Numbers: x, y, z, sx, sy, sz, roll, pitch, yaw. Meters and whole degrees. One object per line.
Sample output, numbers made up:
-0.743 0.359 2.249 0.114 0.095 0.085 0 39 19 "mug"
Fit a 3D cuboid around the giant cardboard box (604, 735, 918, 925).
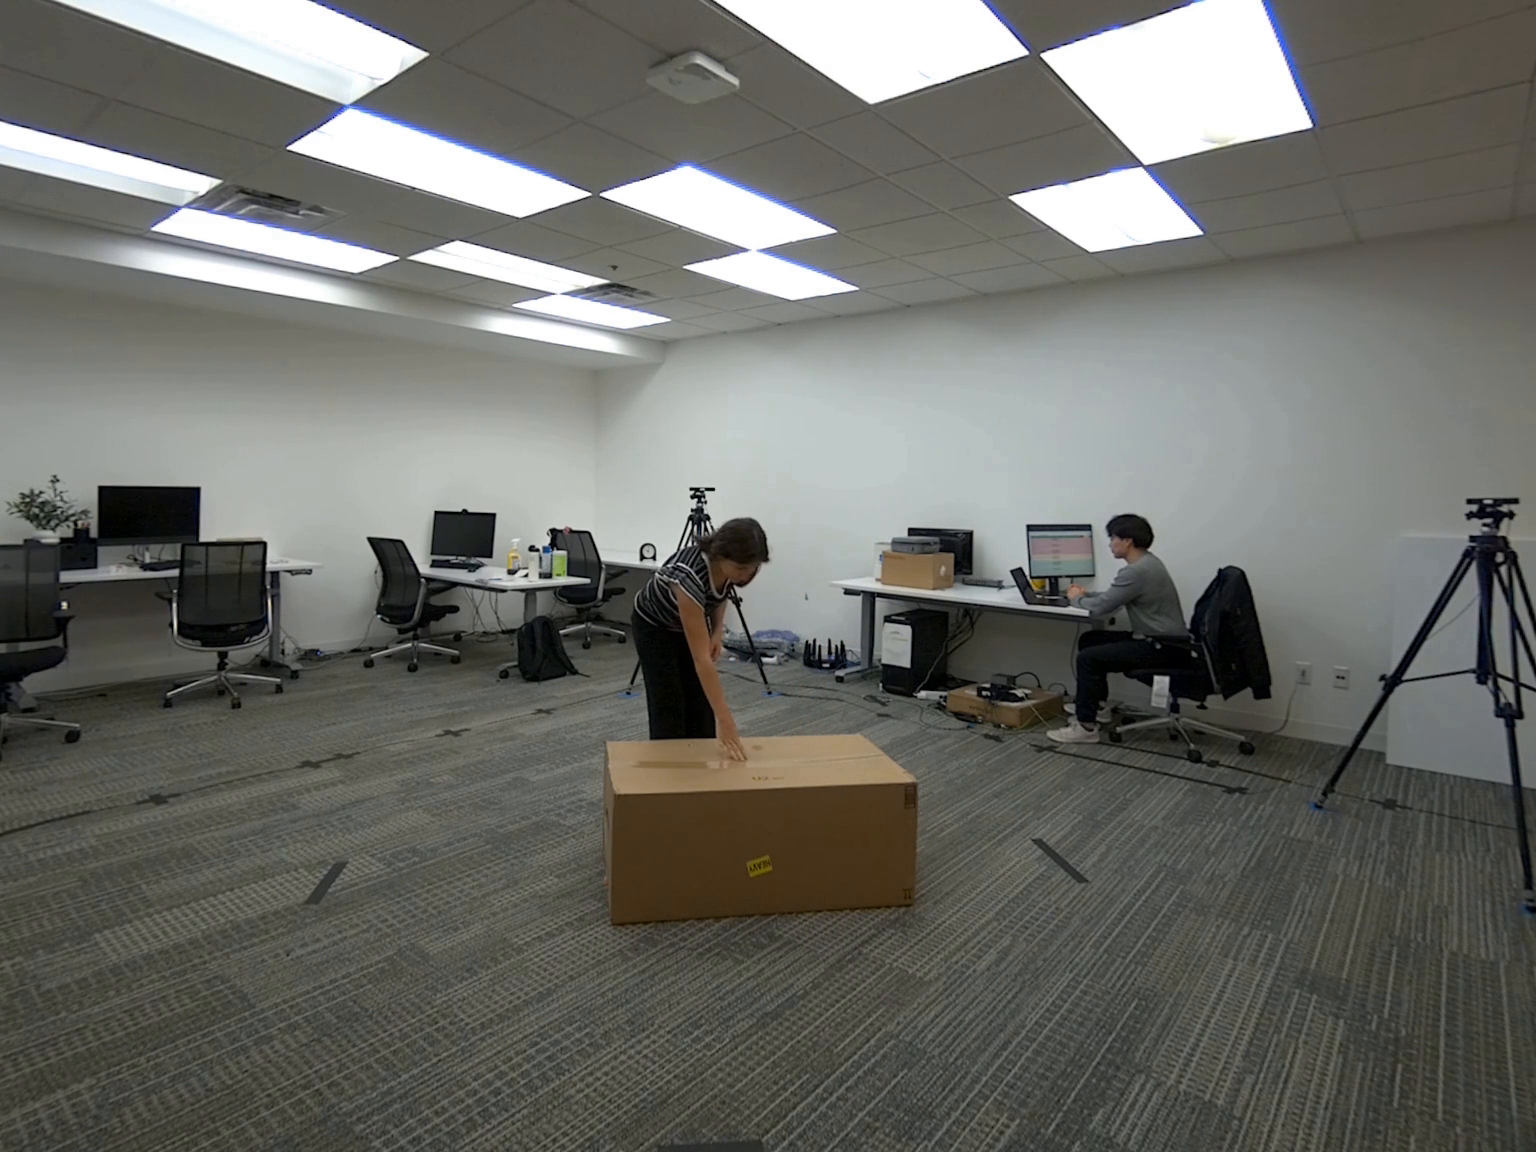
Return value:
-0.069 0.866 3.042 1.014 0.425 0.586 0 4 -11 "giant cardboard box"
